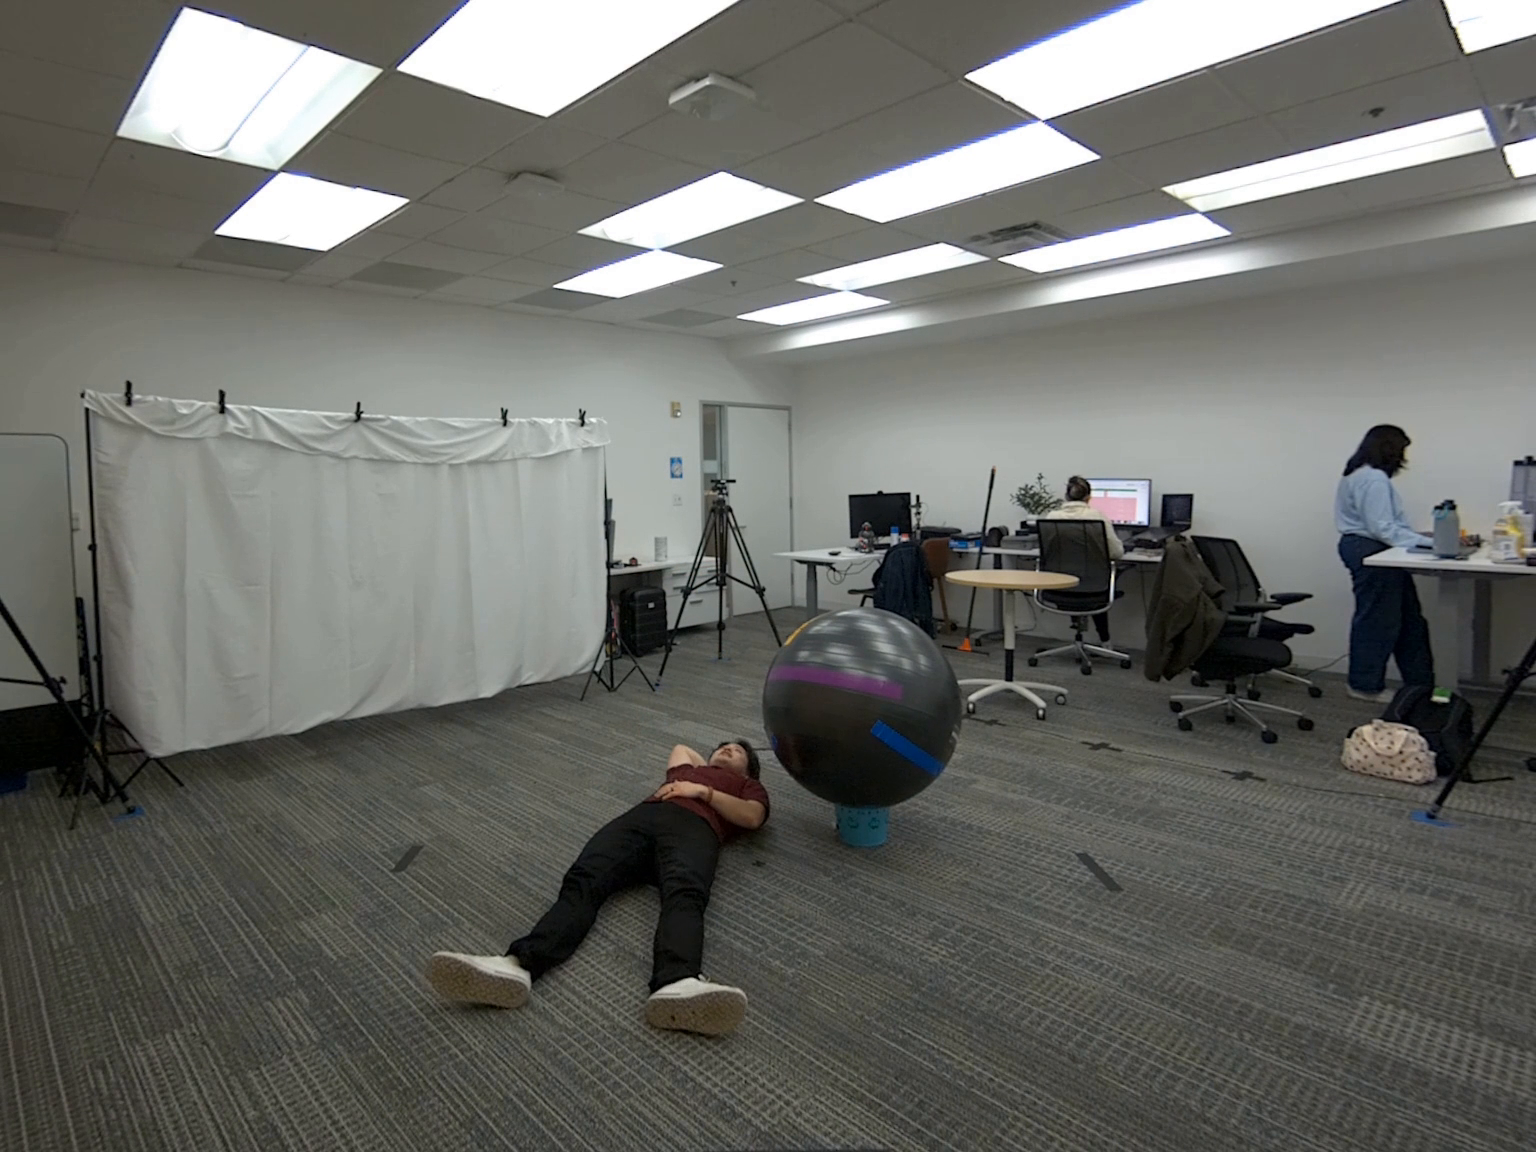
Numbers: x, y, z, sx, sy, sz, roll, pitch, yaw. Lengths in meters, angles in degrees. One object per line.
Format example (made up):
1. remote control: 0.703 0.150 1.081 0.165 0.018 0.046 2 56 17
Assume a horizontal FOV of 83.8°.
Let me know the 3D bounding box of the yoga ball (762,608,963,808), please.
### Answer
1. yoga ball: 0.360 0.506 3.314 0.757 0.755 0.762 -1 5 -2
